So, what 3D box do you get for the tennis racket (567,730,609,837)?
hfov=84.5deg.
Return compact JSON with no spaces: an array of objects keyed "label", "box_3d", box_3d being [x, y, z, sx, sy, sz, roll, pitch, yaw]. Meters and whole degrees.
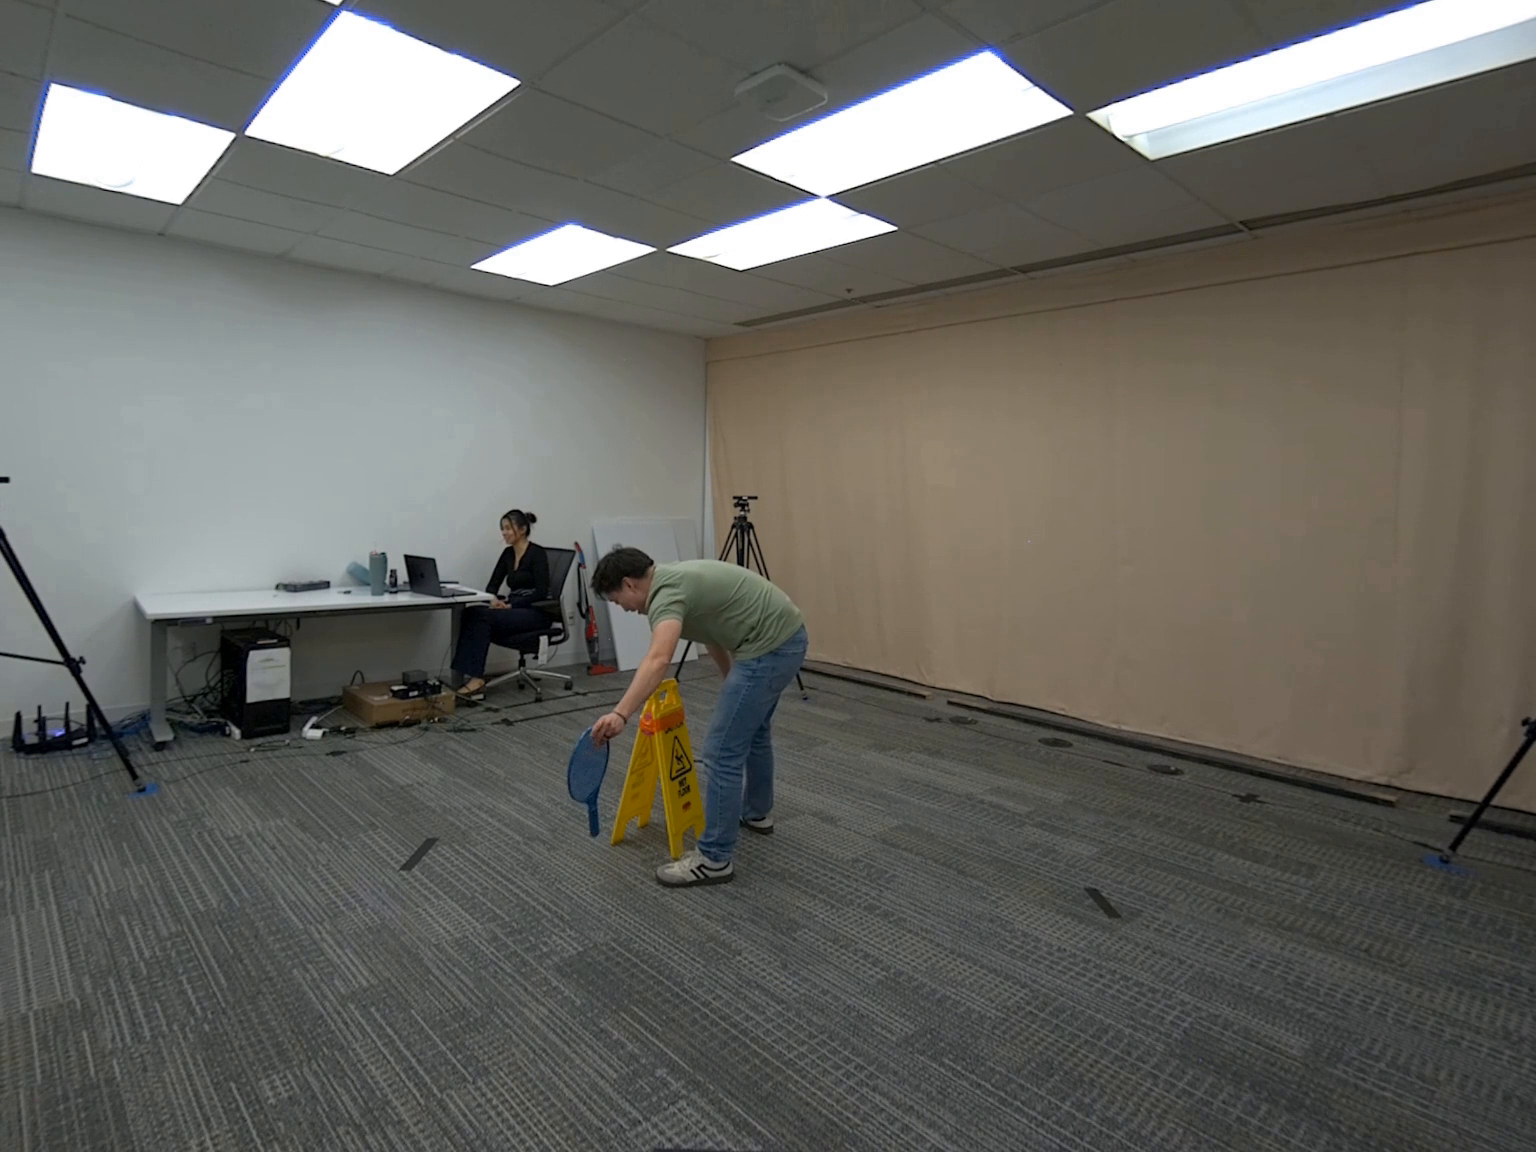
[{"label":"tennis racket","box_3d":[-0.569,0.676,2.684,0.032,0.426,0.213,12,25,19]}]
